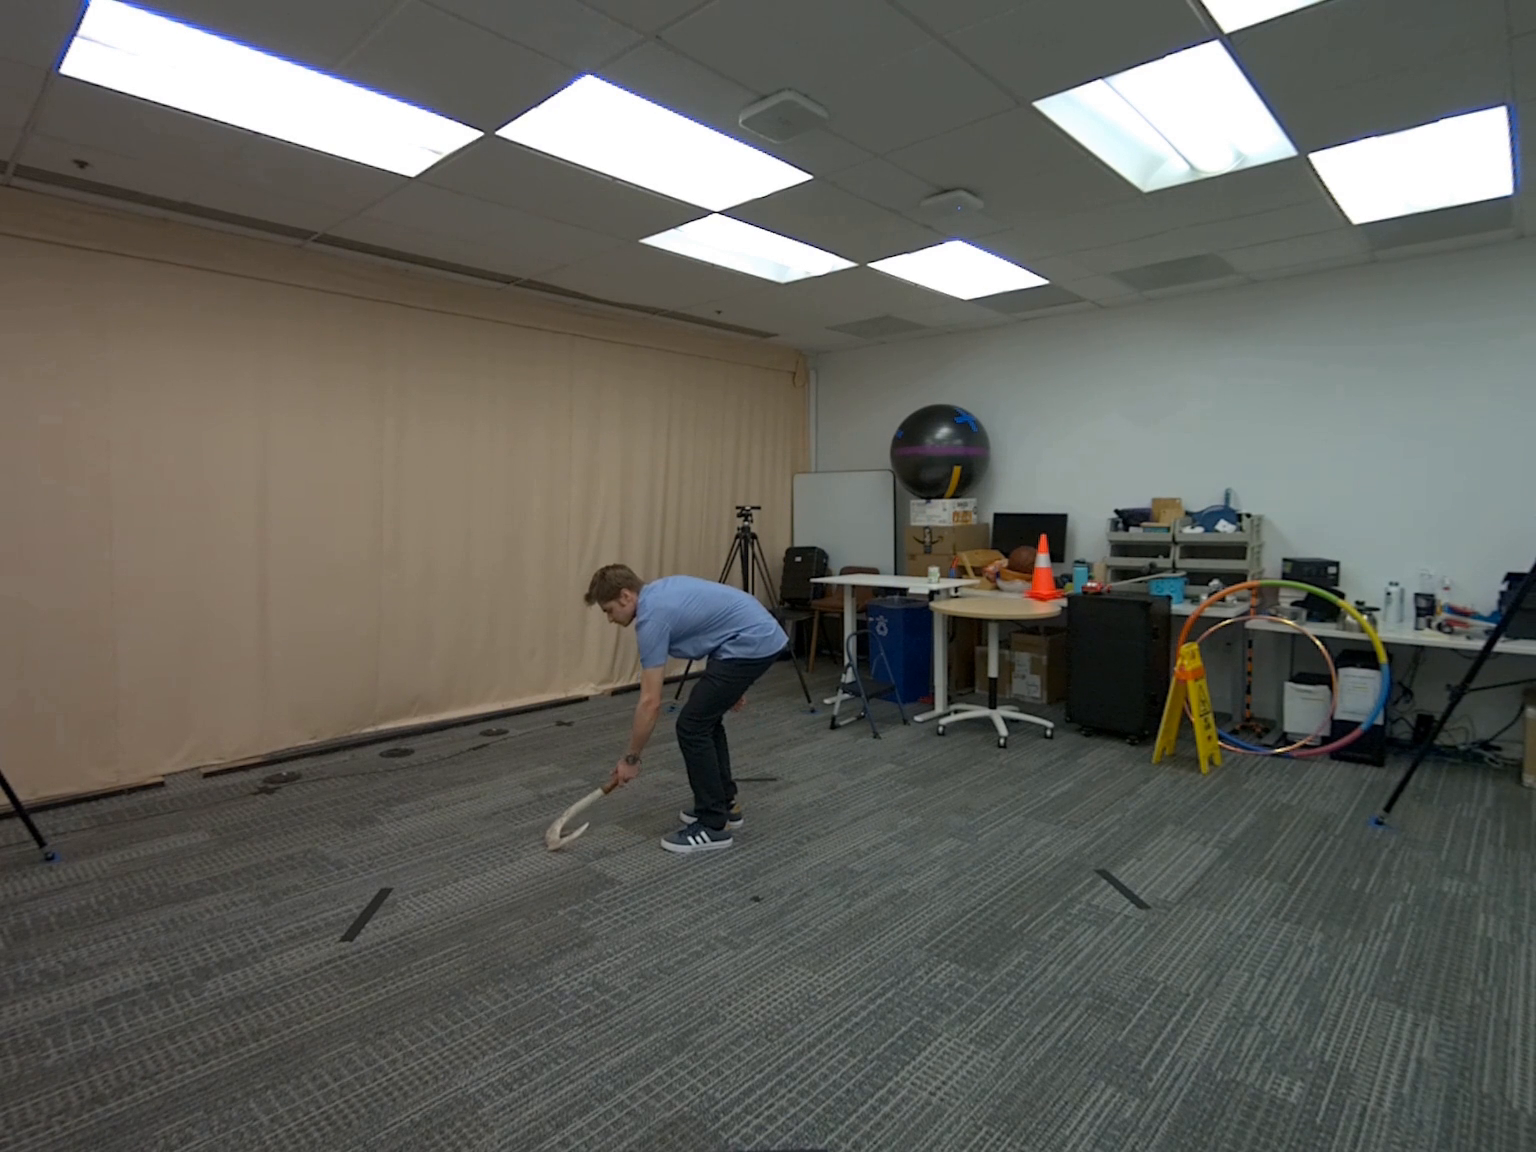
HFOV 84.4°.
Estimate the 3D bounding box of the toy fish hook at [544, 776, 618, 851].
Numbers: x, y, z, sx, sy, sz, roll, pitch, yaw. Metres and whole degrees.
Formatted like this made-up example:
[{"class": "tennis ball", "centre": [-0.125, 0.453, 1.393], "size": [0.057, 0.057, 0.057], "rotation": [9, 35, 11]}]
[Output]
[{"class": "toy fish hook", "centre": [-0.716, 0.949, 3.501], "size": [0.505, 0.047, 0.230], "rotation": [-39, 22, -8]}]
